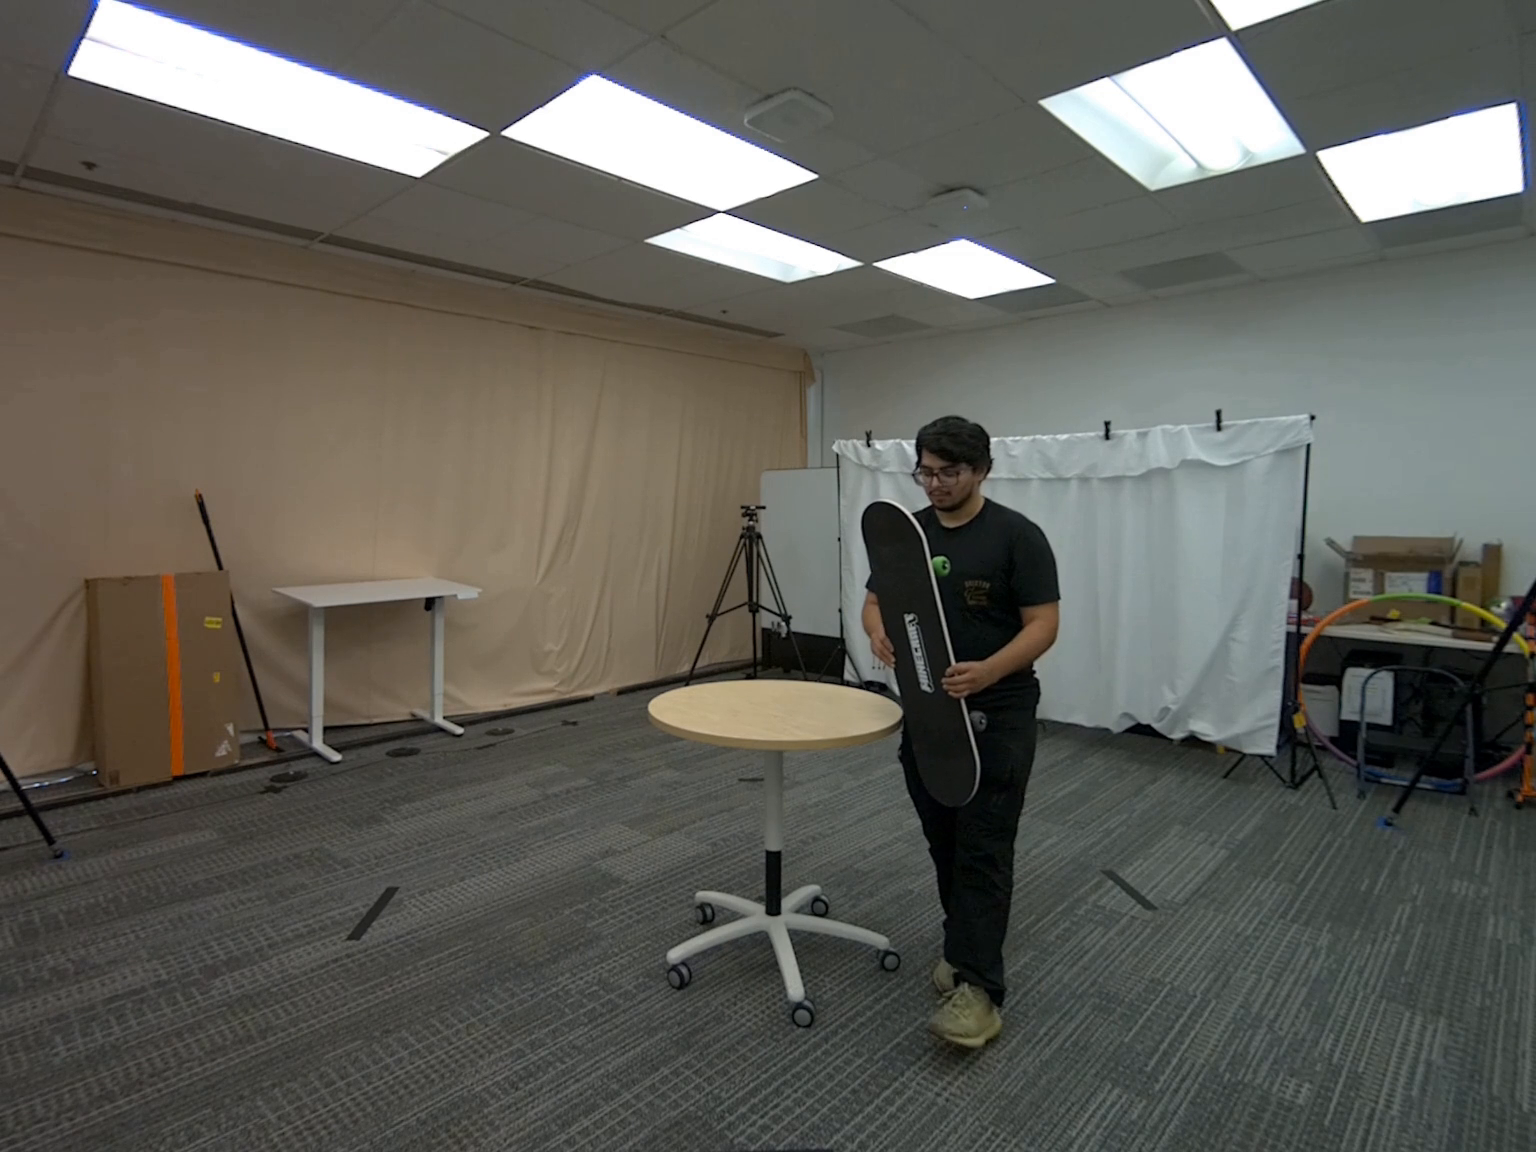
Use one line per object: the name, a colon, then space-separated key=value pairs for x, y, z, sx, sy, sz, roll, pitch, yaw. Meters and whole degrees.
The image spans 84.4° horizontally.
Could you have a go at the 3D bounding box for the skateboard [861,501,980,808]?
skateboard: x=0.410 y=0.184 z=2.118 sx=0.107 sy=0.783 sz=0.199 roll=-16 pitch=4 yaw=-40
